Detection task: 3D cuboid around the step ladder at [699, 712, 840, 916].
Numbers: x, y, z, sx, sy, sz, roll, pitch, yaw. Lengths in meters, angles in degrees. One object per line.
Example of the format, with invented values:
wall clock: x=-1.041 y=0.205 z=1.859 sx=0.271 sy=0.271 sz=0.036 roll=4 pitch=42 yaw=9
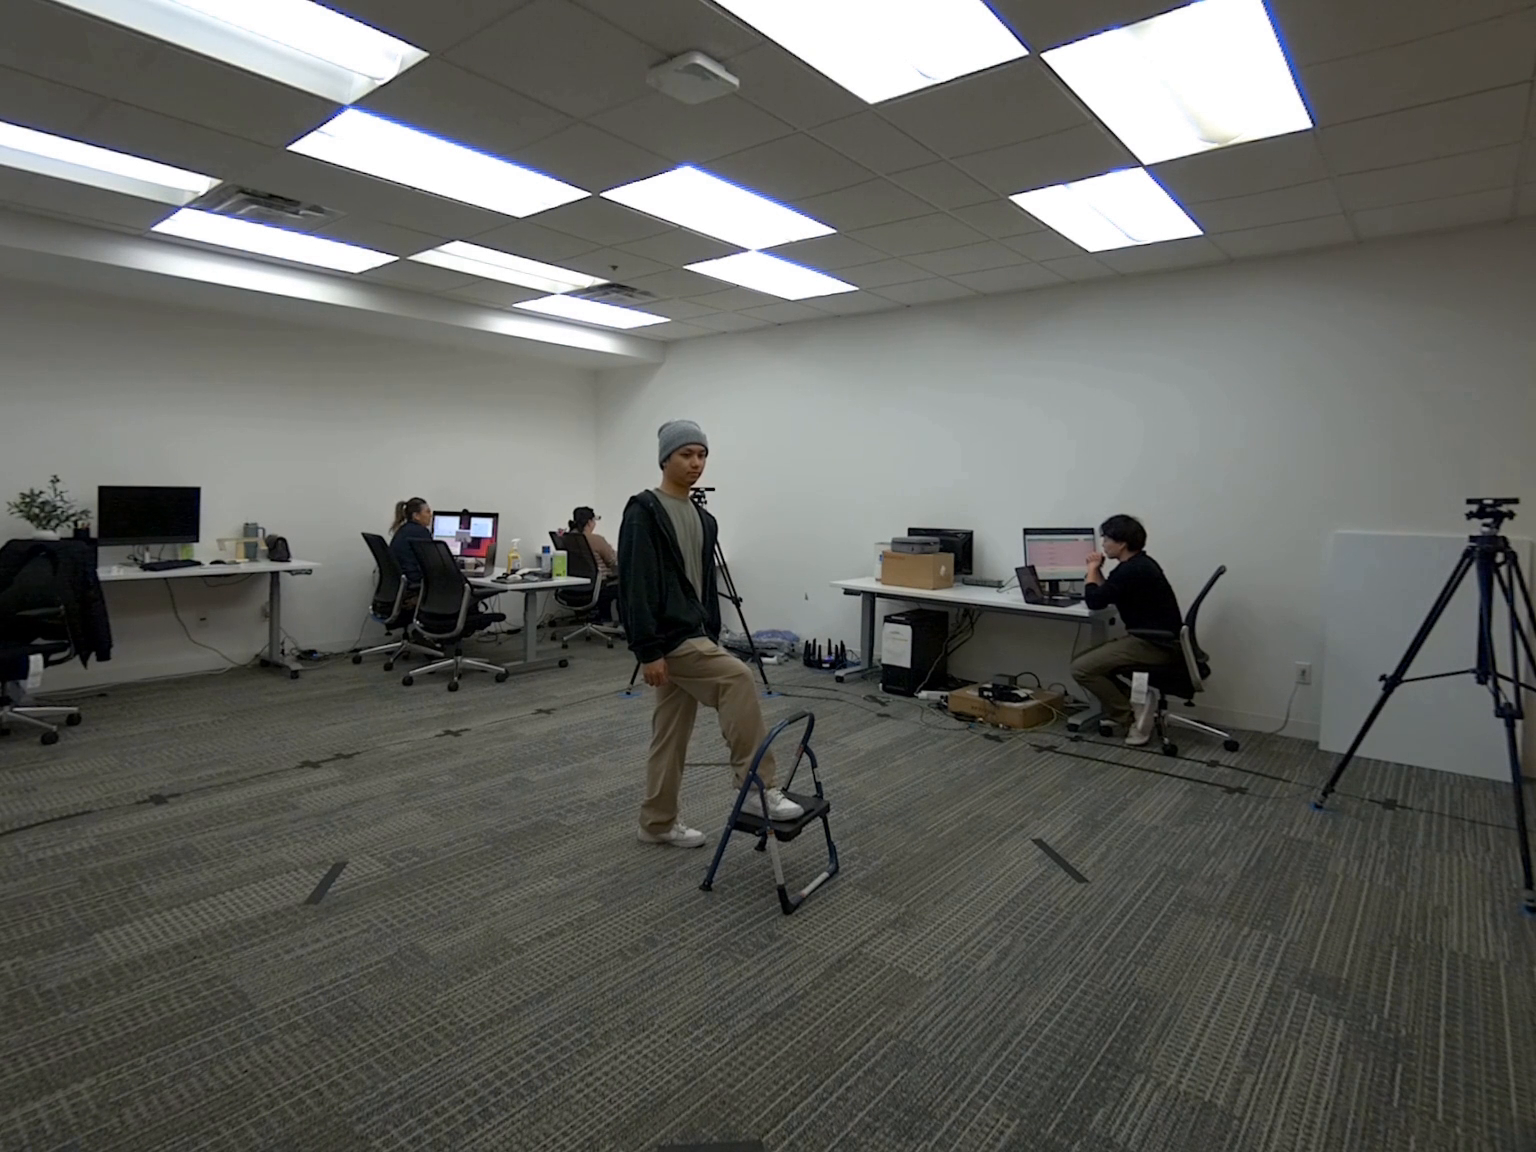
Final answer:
step ladder: x=0.016 y=0.777 z=3.017 sx=0.359 sy=0.604 sz=0.420 roll=3 pitch=4 yaw=29
